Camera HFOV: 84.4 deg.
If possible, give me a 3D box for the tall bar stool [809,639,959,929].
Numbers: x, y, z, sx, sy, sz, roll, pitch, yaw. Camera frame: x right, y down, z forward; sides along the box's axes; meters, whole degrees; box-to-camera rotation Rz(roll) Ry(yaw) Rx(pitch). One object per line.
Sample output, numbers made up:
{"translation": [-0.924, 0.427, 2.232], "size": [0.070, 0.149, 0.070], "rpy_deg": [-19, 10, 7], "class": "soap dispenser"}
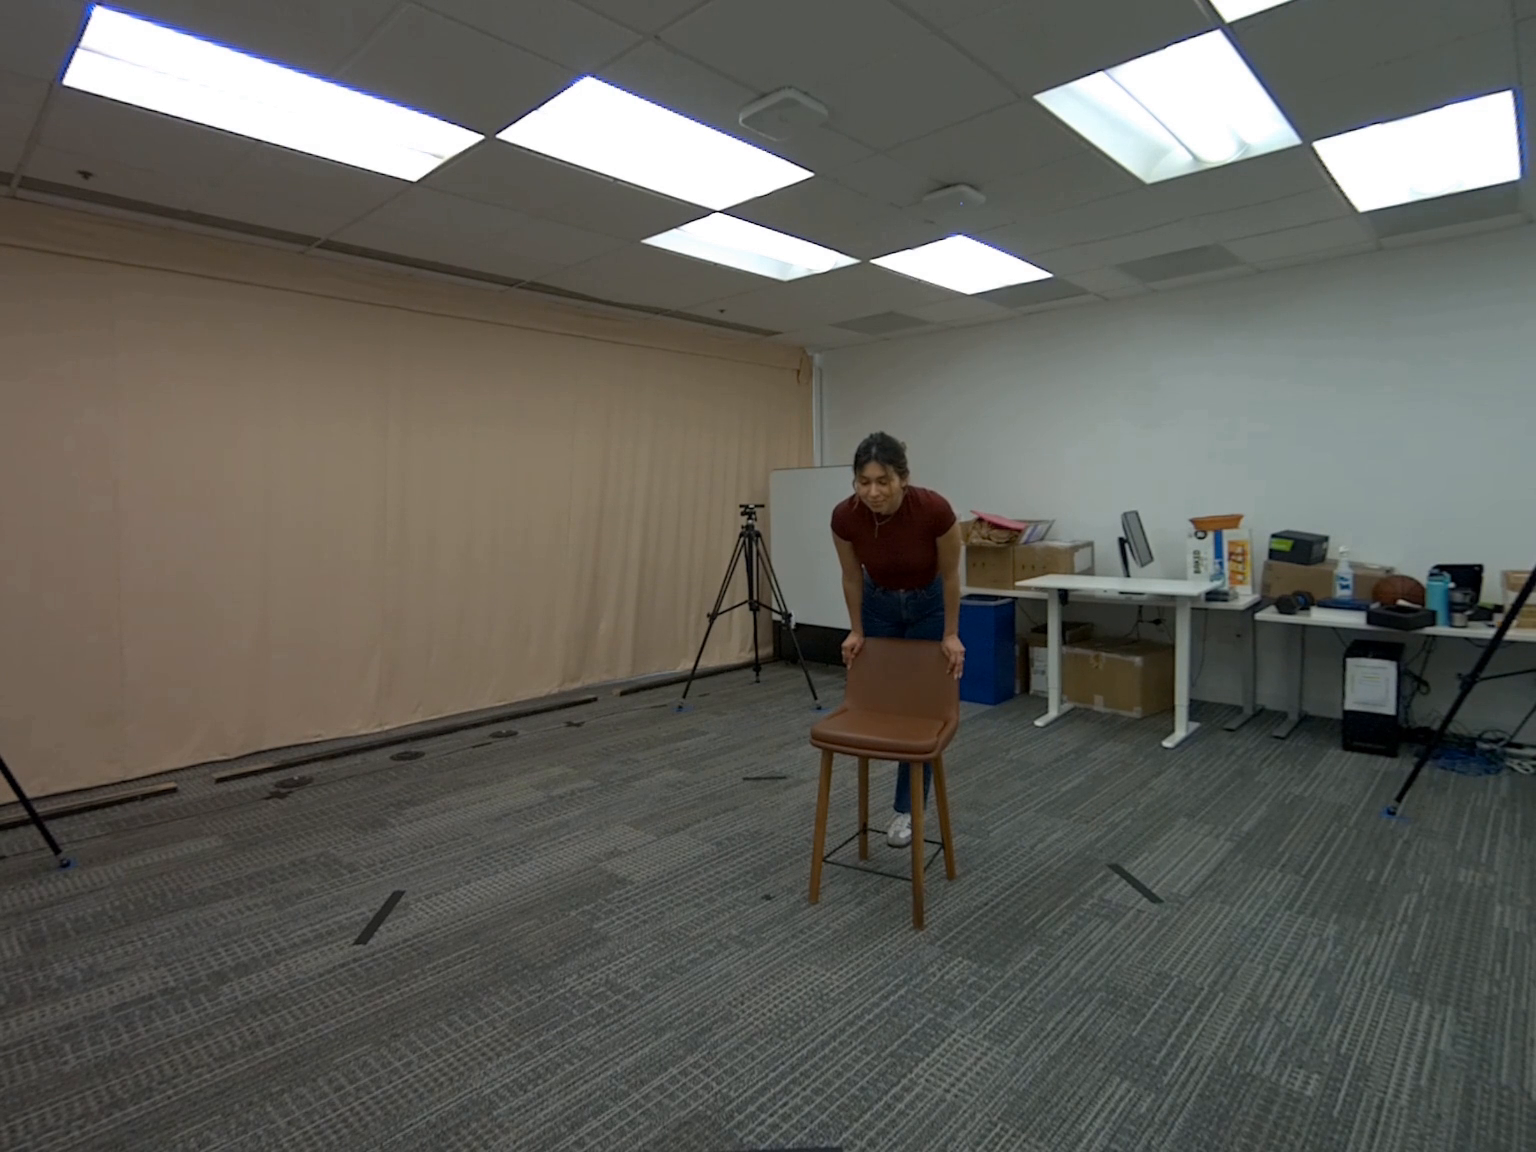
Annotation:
{"translation": [0.428, 0.692, 3.008], "size": [0.470, 0.889, 0.454], "rpy_deg": [2, 2, 31], "class": "tall bar stool"}
